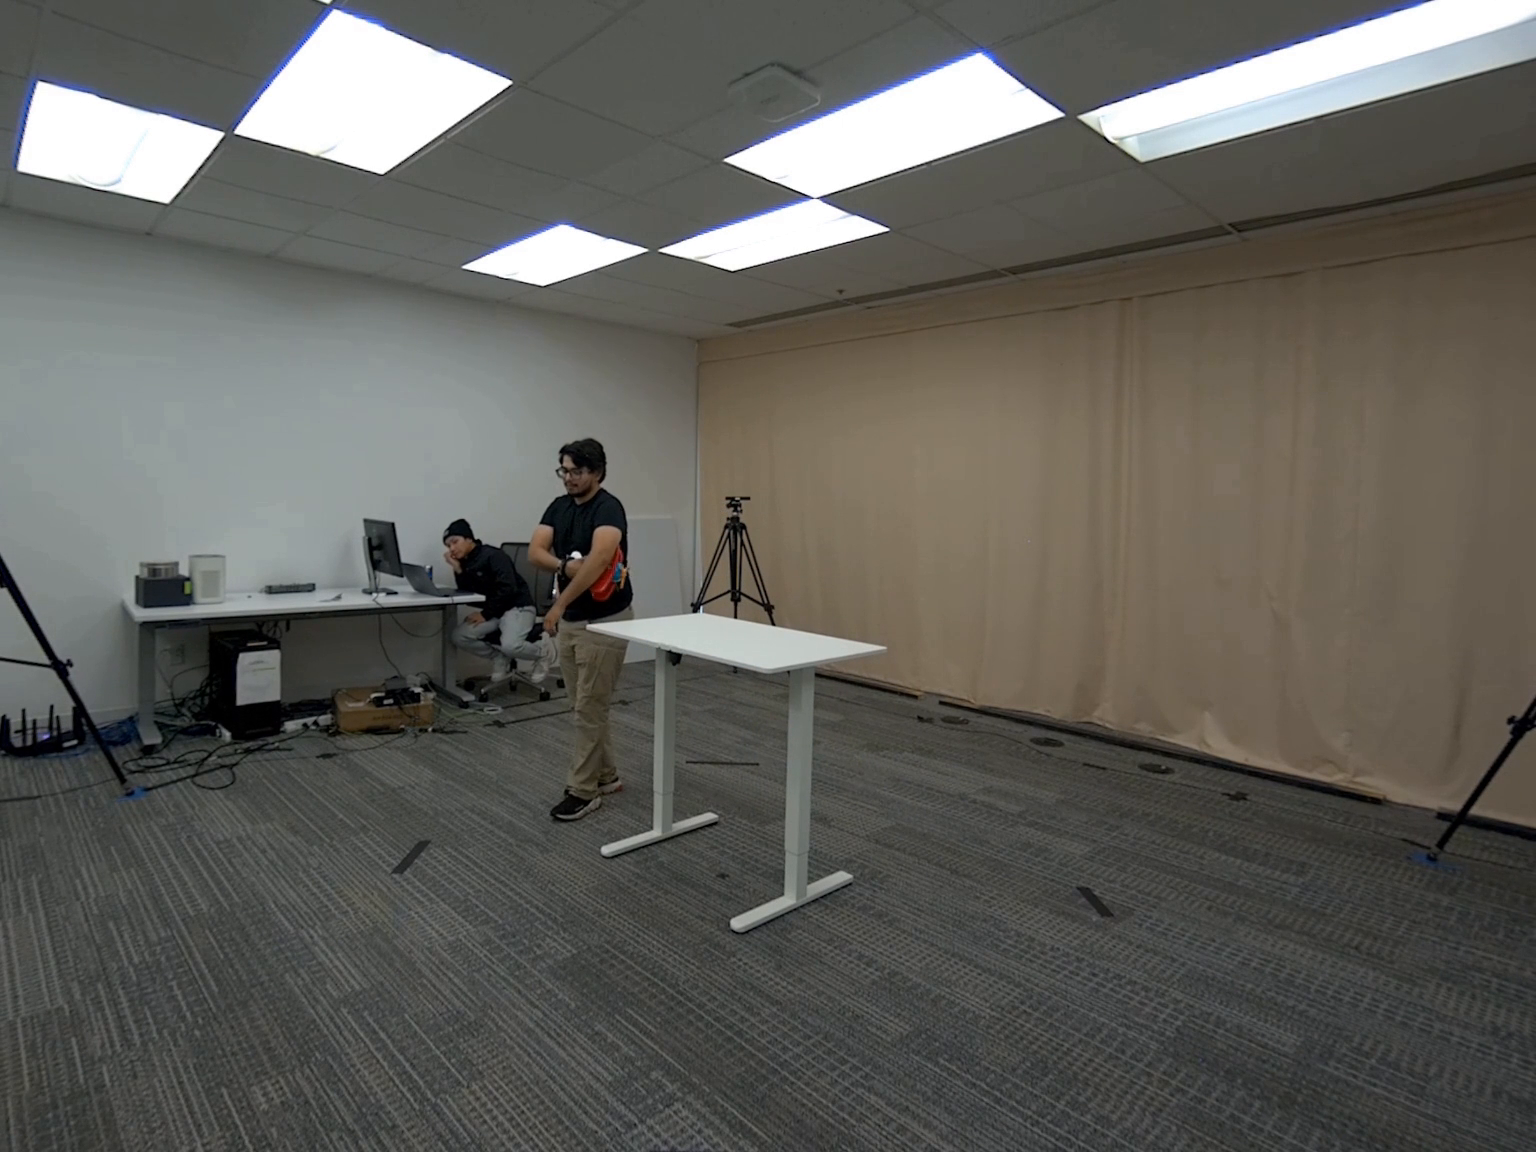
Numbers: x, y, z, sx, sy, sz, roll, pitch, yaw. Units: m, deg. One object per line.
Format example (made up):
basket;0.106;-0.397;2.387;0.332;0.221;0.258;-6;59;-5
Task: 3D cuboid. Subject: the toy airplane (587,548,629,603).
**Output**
toy airplane;-0.750;-0.014;3.625;0.256;0.256;0.155;-10;-22;-18
